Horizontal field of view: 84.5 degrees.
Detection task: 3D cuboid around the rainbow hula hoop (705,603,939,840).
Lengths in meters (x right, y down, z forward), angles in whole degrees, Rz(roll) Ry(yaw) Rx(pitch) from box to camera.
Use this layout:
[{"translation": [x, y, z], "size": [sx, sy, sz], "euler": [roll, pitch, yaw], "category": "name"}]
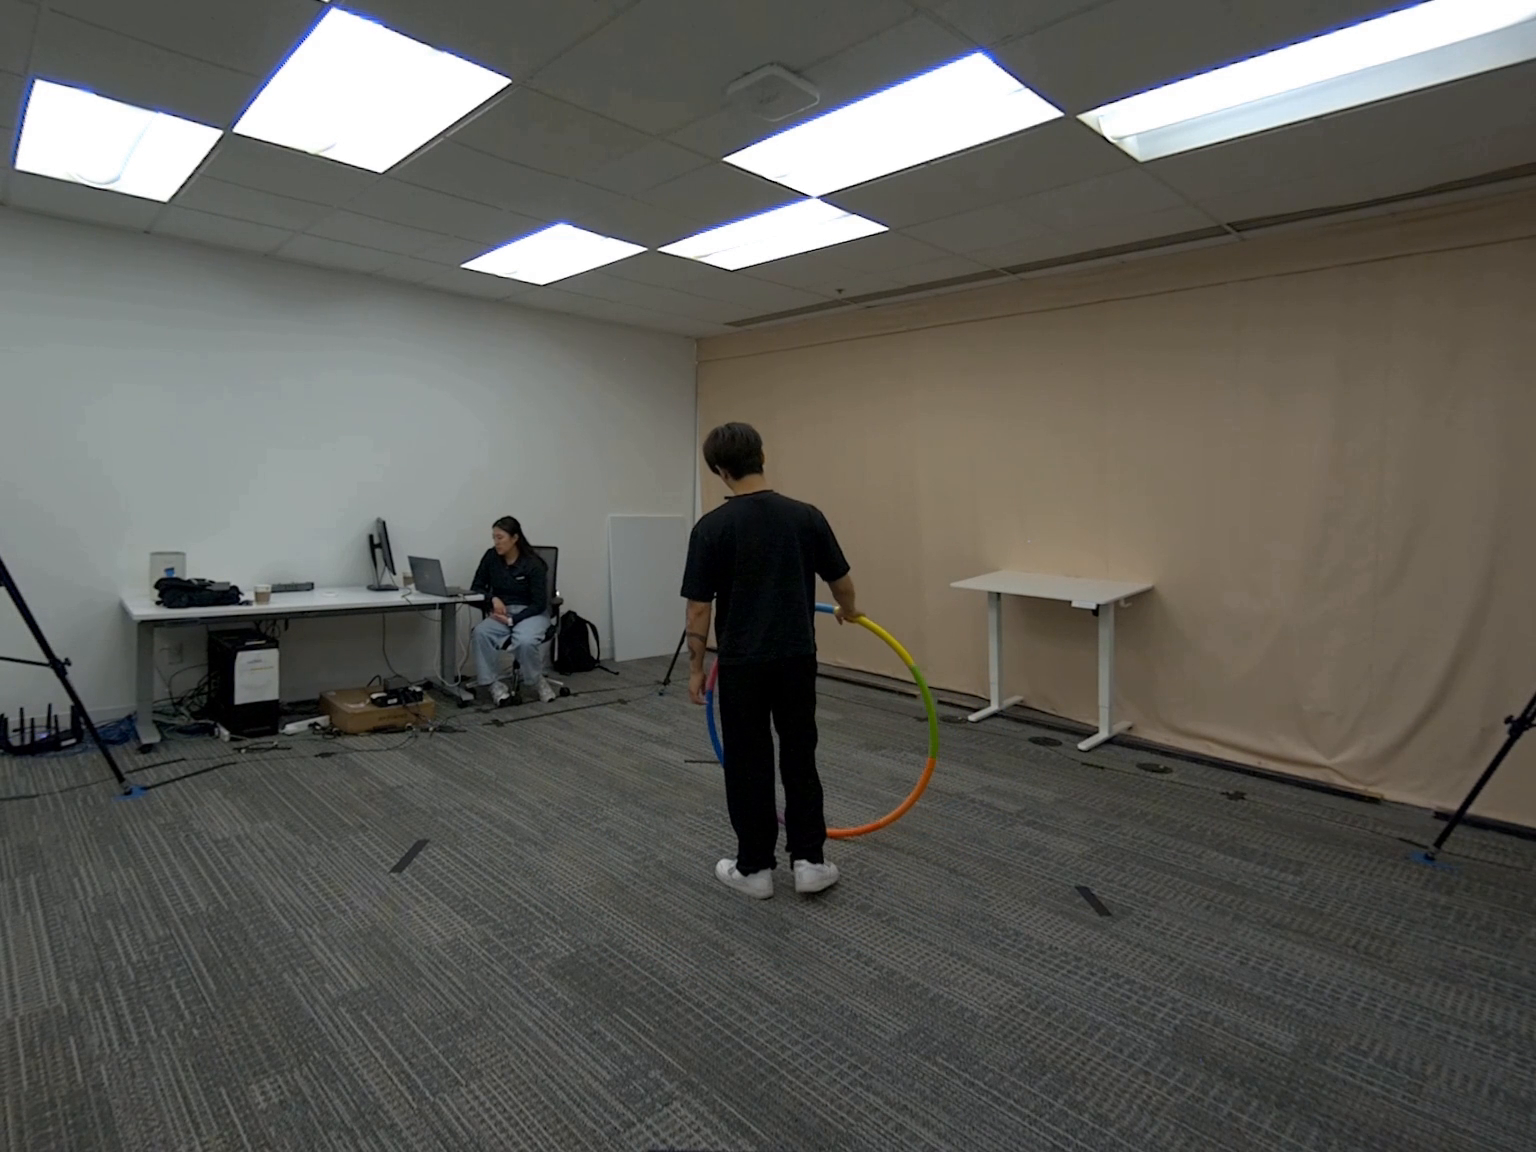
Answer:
[{"translation": [0.186, 0.596, 3.439], "size": [0.996, 0.973, 0.035], "euler": [3, 8, 23], "category": "rainbow hula hoop"}]
